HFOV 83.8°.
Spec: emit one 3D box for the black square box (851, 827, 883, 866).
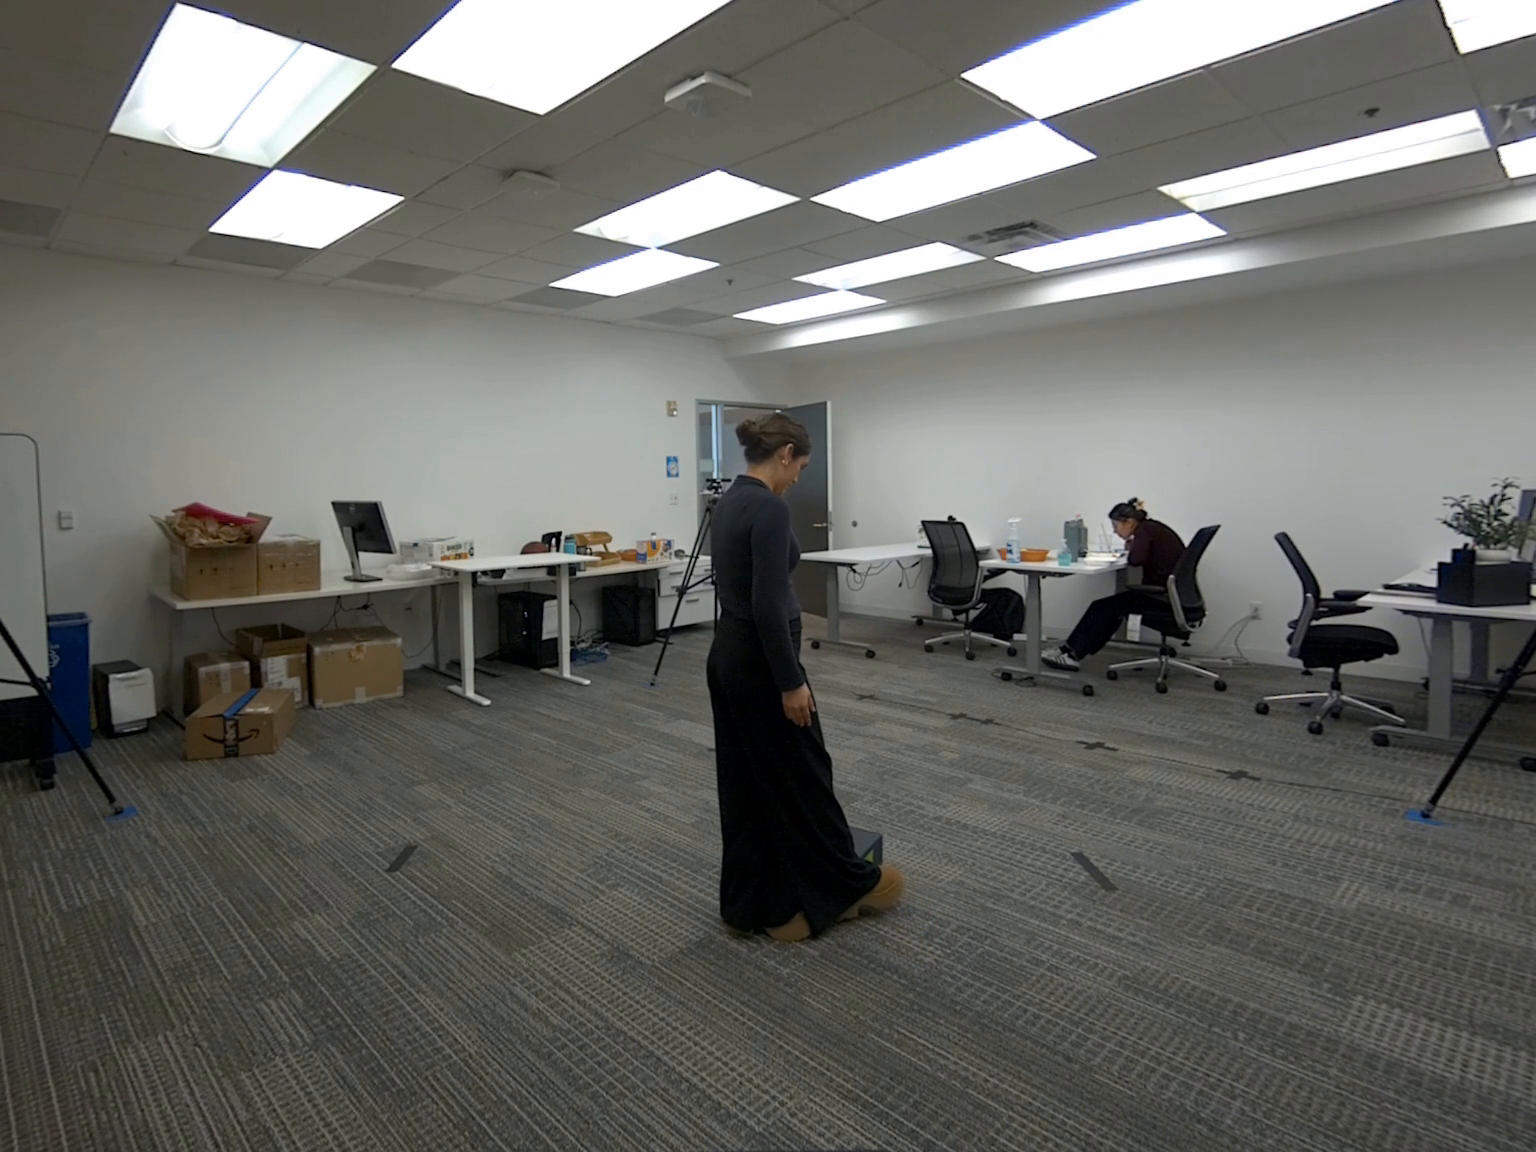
[{"bbox_3d":[0.264,0.978,2.927,0.222,0.155,0.223,3,6,29],"label":"black square box"}]
